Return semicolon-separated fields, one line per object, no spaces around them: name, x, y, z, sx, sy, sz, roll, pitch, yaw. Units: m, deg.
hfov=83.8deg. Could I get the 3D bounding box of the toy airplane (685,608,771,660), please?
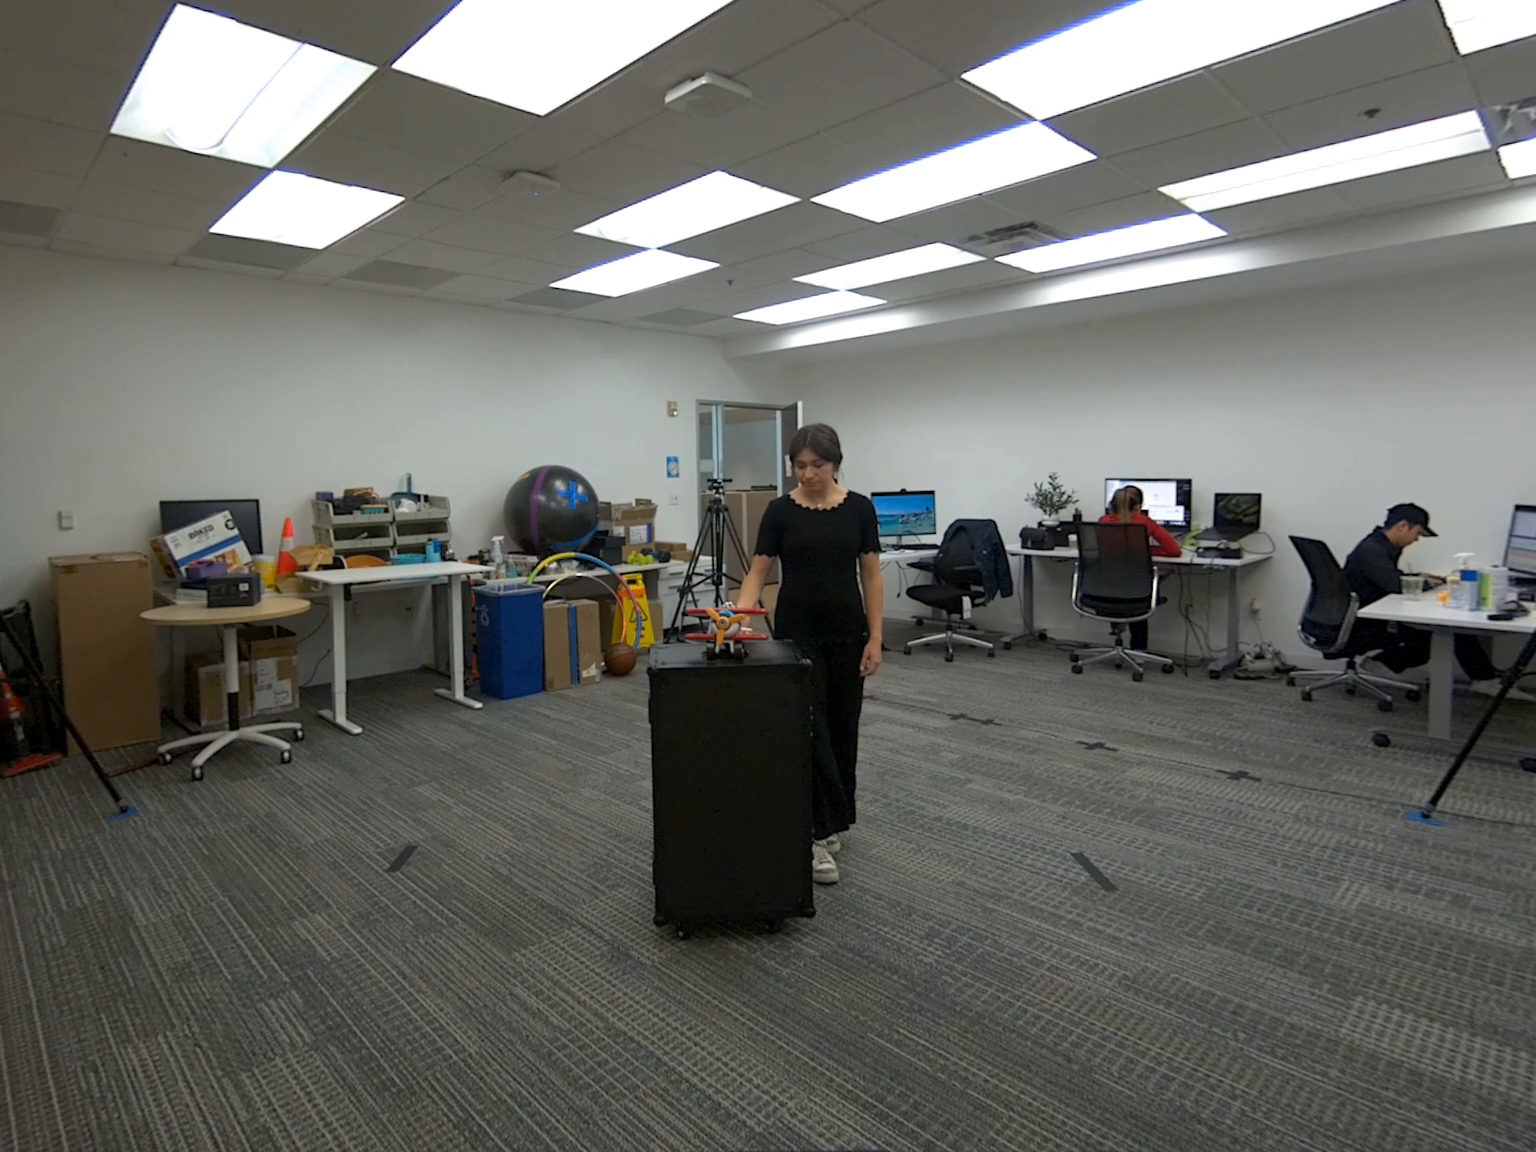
toy airplane;-0.141;0.170;2.681;0.246;0.156;0.265;-2;6;-20
